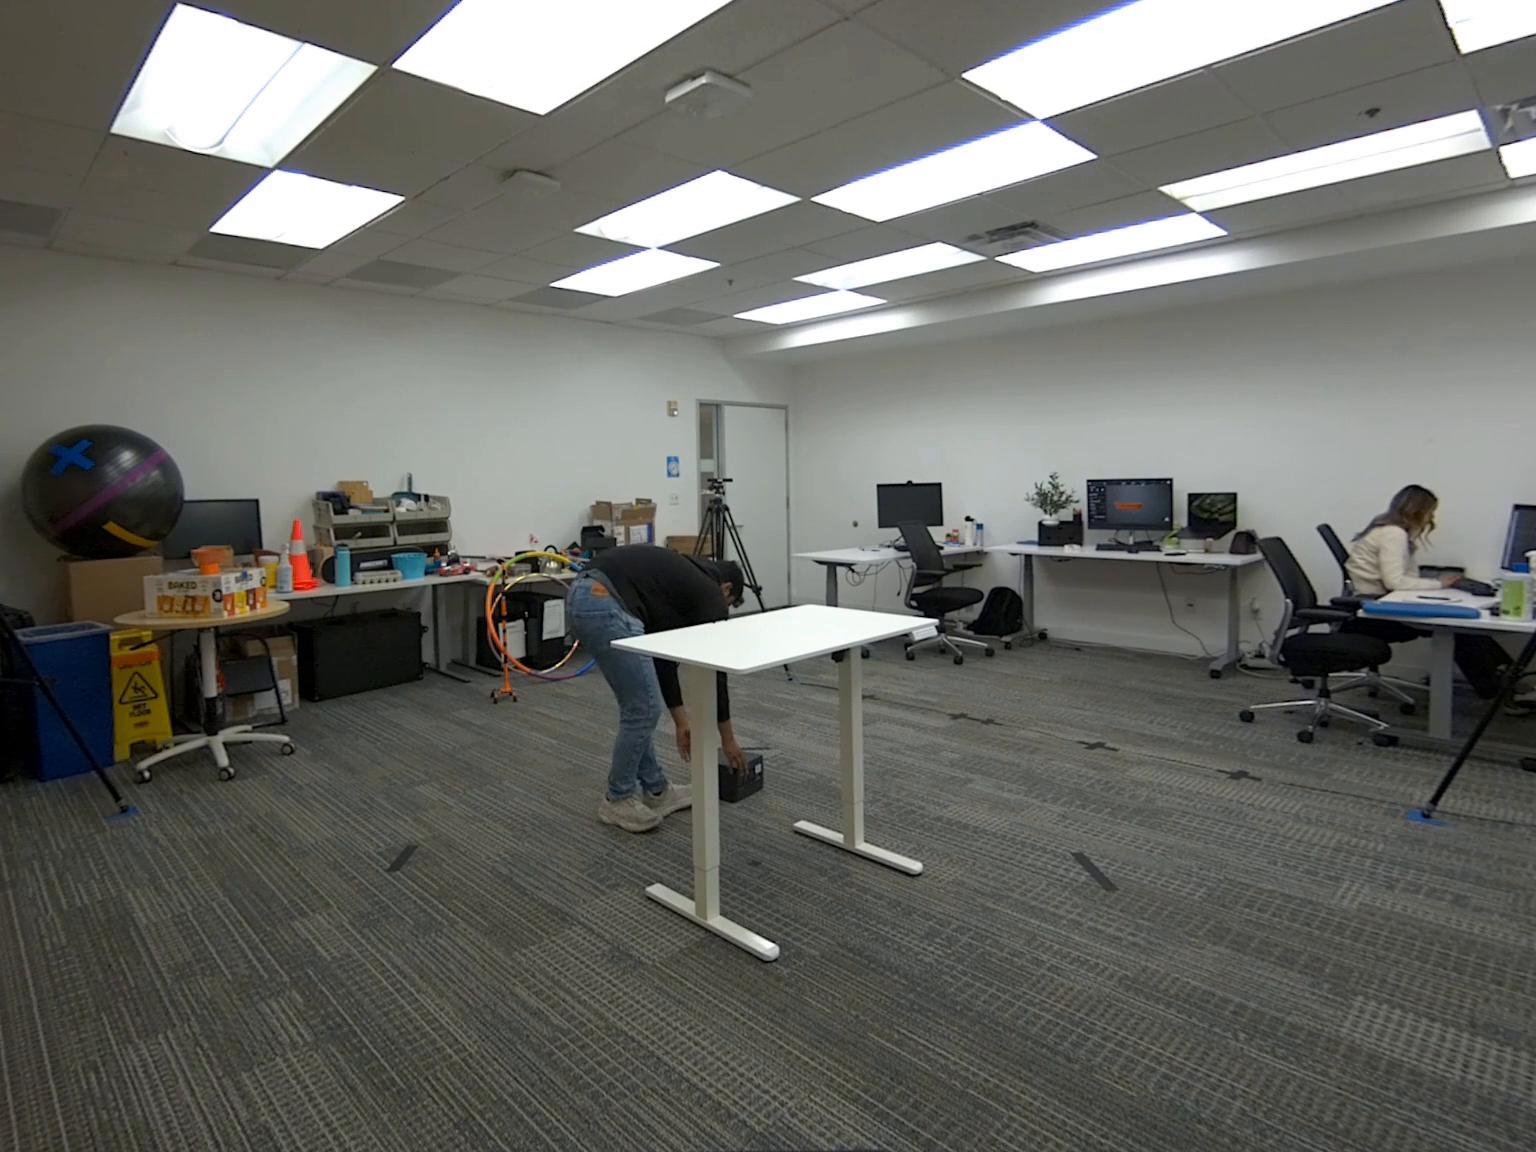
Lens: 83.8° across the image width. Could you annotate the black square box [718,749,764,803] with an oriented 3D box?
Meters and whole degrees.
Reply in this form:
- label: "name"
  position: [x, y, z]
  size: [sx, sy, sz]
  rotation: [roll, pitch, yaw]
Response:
- label: "black square box"
  position: [-0.177, 0.879, 3.829]
  size: [0.234, 0.155, 0.212]
  rotation: [2, 6, 34]
